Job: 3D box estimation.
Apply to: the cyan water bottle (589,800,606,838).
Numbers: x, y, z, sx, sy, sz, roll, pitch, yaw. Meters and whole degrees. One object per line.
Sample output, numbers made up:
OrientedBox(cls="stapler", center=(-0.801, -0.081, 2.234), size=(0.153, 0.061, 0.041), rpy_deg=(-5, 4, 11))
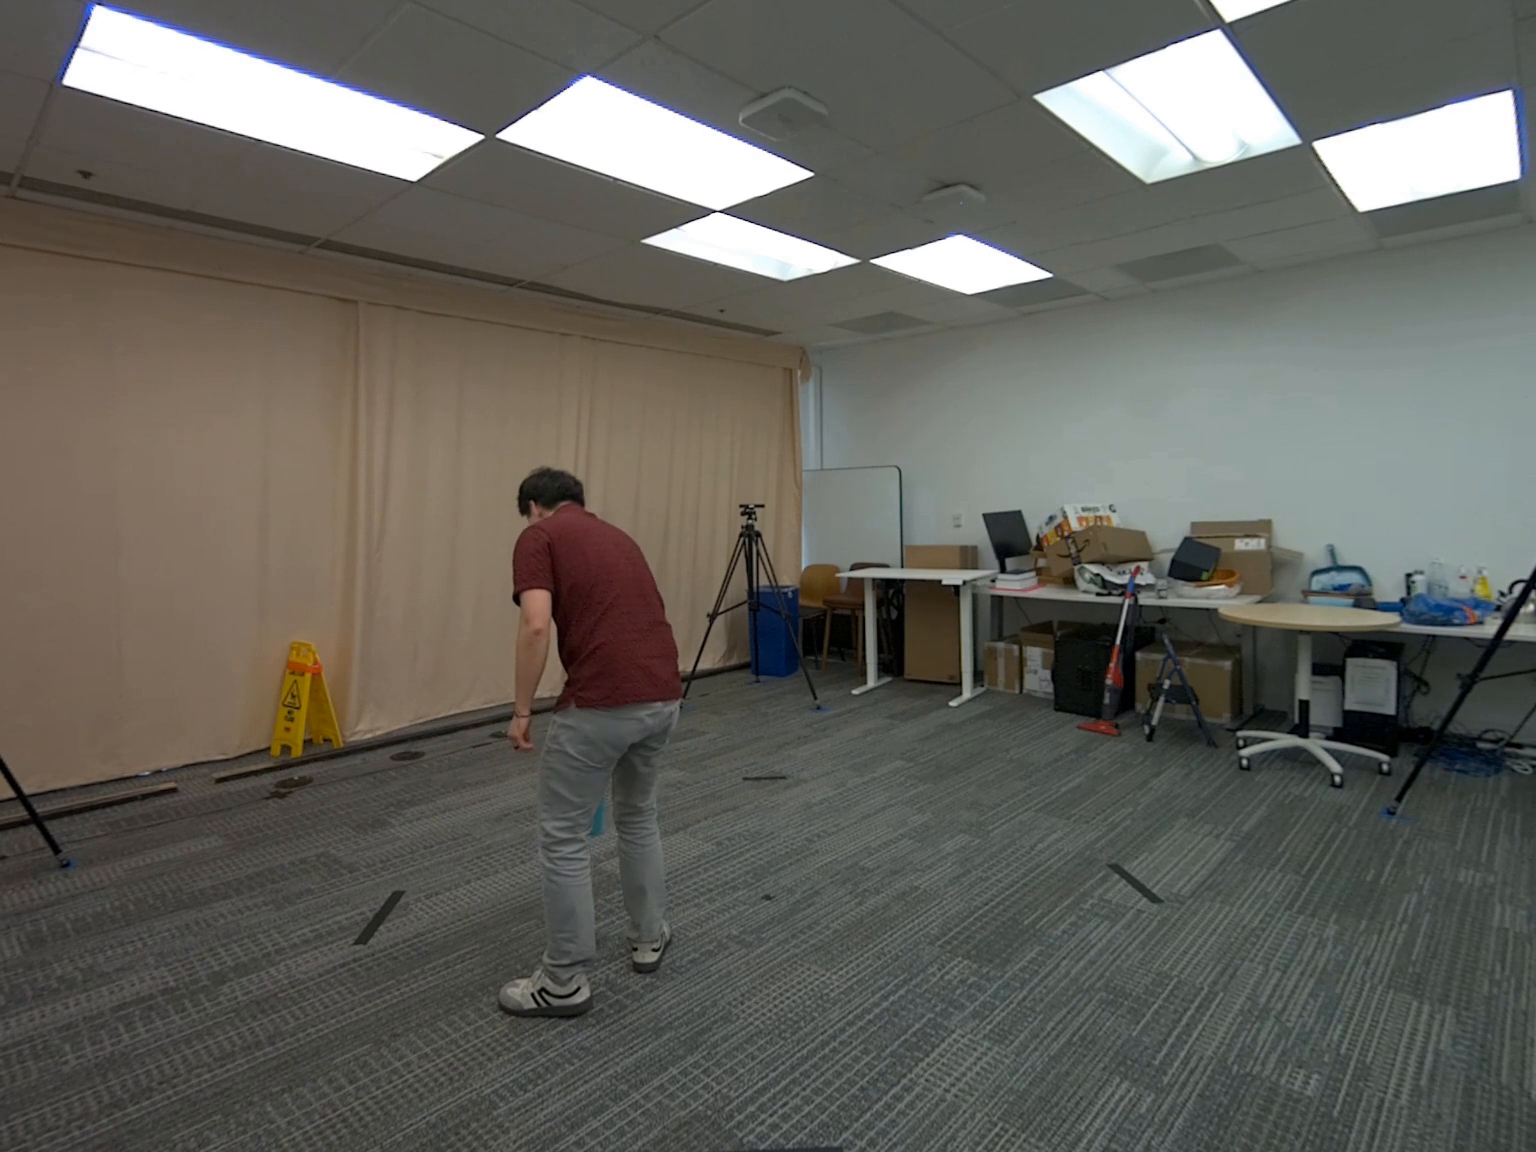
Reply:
OrientedBox(cls="cyan water bottle", center=(-0.568, 0.707, 2.745), size=(0.092, 0.283, 0.092), rpy_deg=(6, -1, -2))
